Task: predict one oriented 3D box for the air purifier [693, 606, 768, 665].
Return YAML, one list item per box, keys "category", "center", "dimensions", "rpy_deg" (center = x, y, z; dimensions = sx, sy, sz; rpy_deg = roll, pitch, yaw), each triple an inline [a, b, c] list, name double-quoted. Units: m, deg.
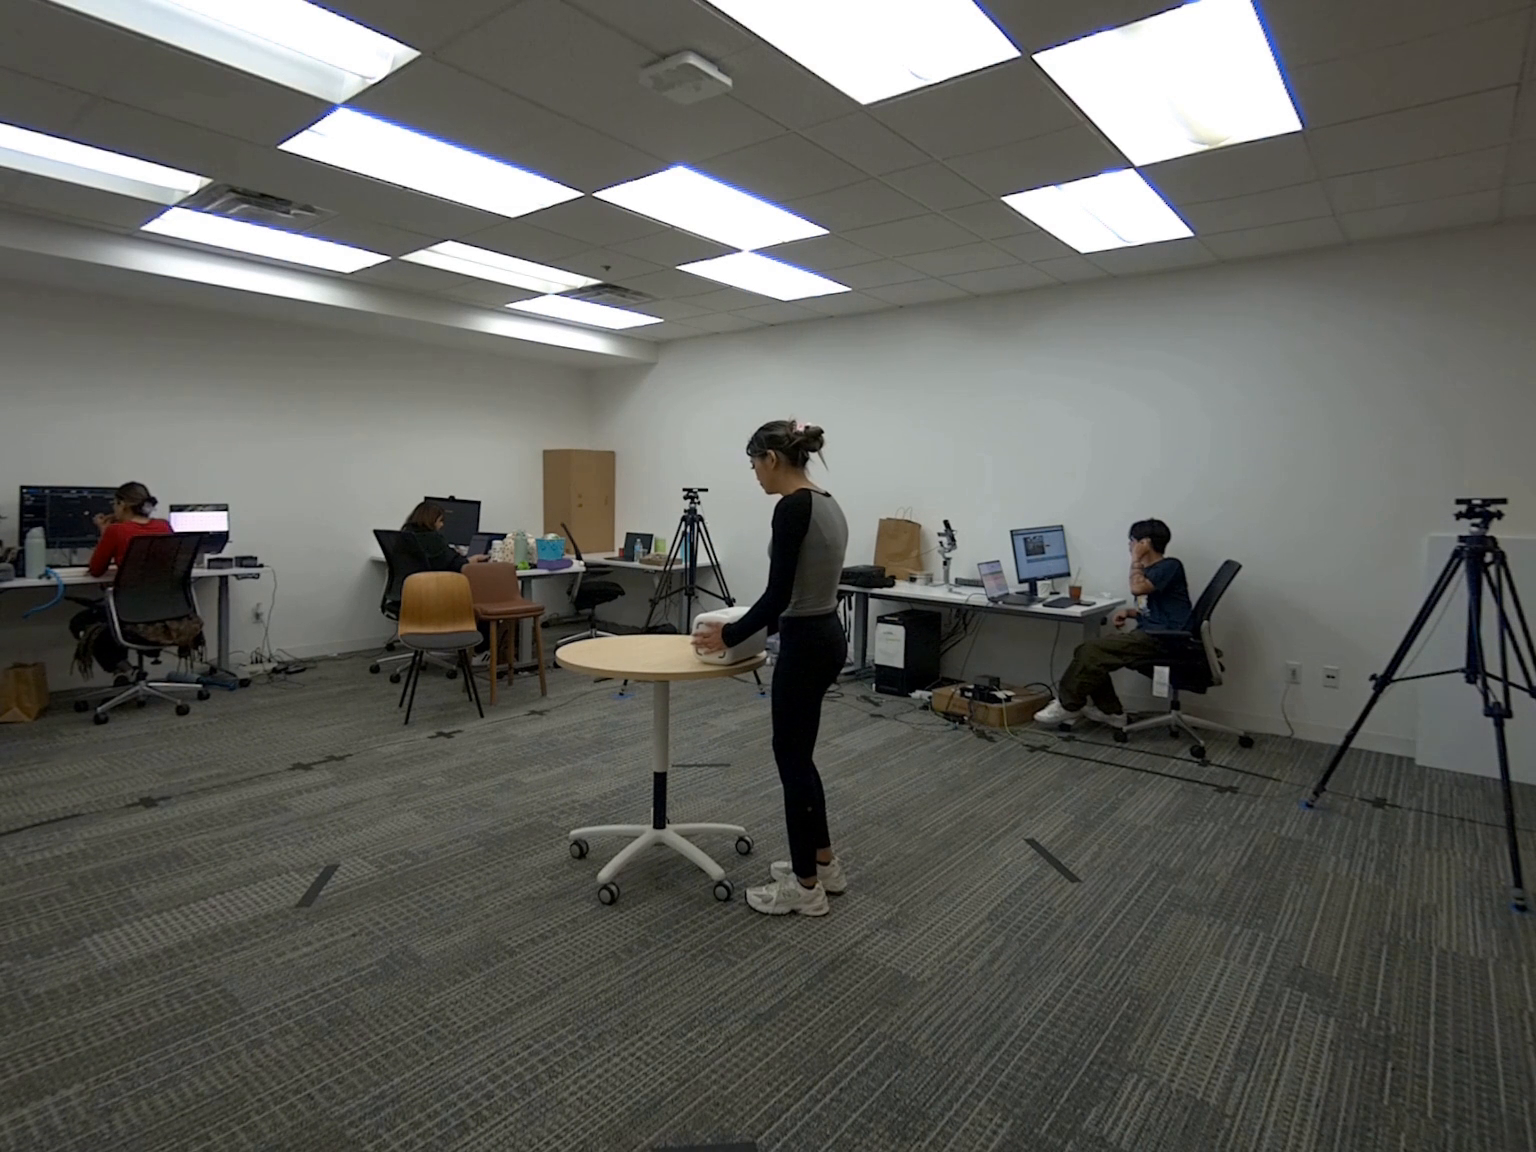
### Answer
- category: "air purifier"
  center: [-0.151, 0.203, 2.971]
  dimensions: [0.176, 0.171, 0.259]
  rpy_deg: [6, 6, 26]
